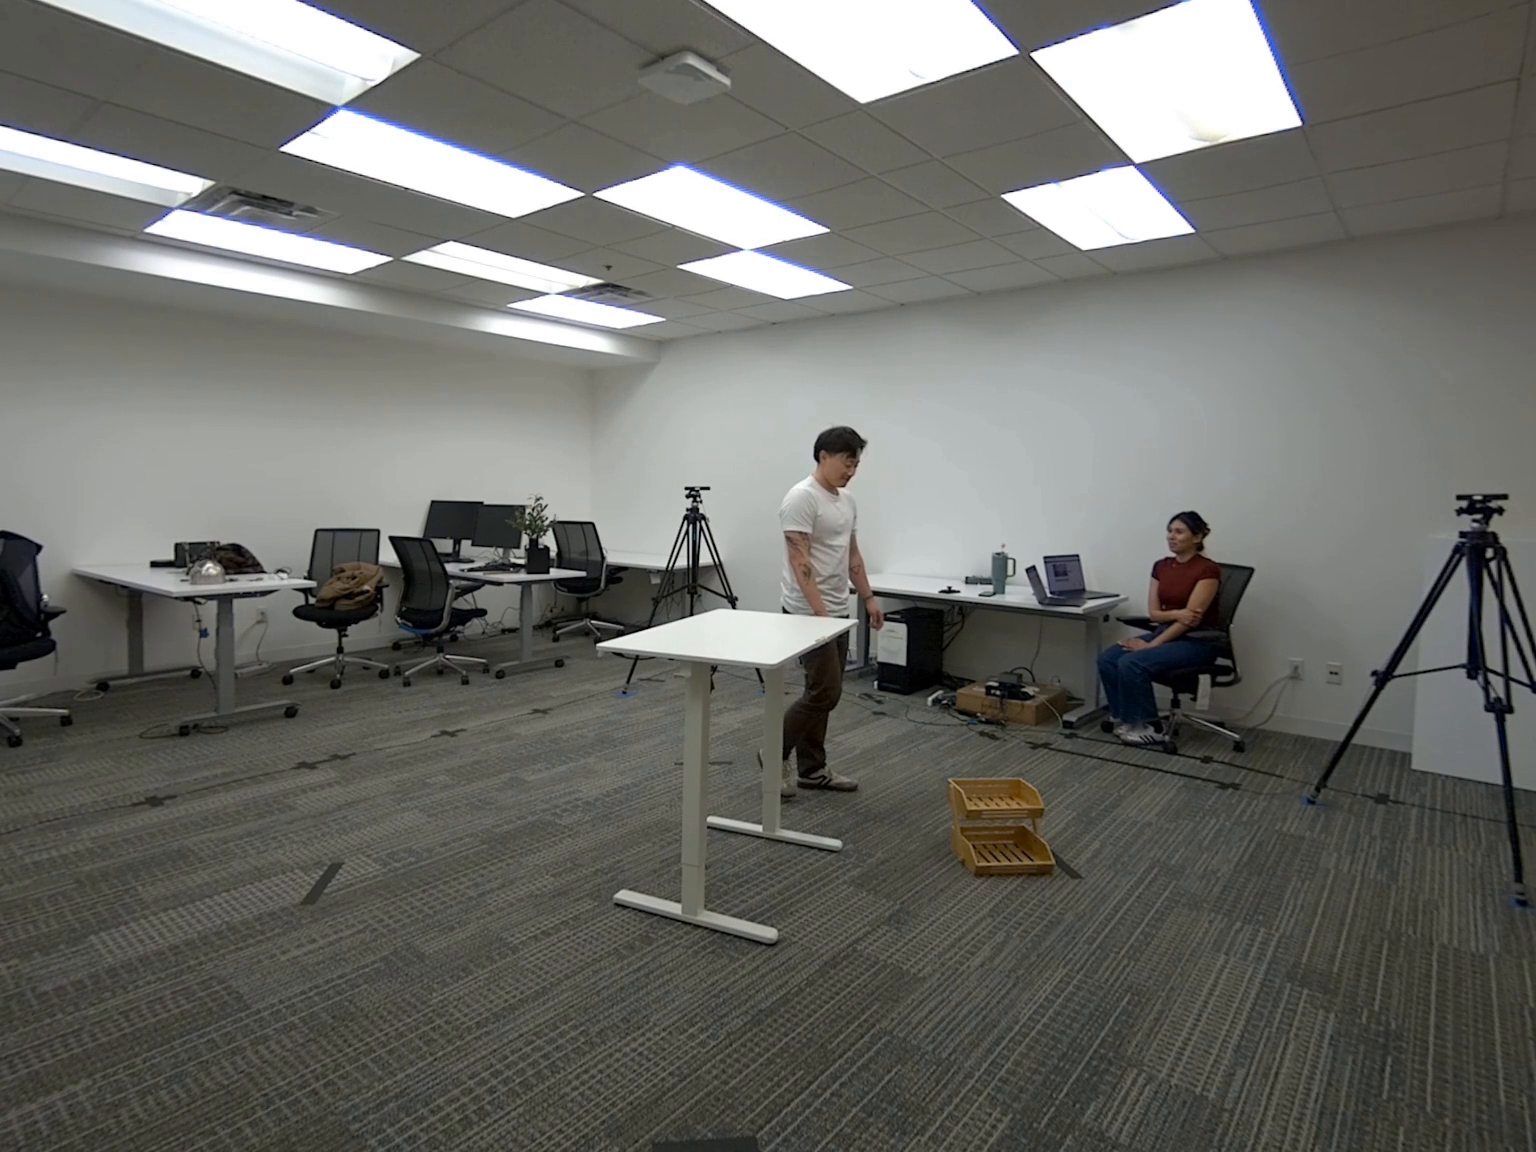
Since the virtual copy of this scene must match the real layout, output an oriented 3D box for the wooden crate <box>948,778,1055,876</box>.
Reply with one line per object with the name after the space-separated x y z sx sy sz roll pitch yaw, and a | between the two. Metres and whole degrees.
0.880 0.940 3.228 0.322 0.272 0.306 0 4 -9 | wooden crate
